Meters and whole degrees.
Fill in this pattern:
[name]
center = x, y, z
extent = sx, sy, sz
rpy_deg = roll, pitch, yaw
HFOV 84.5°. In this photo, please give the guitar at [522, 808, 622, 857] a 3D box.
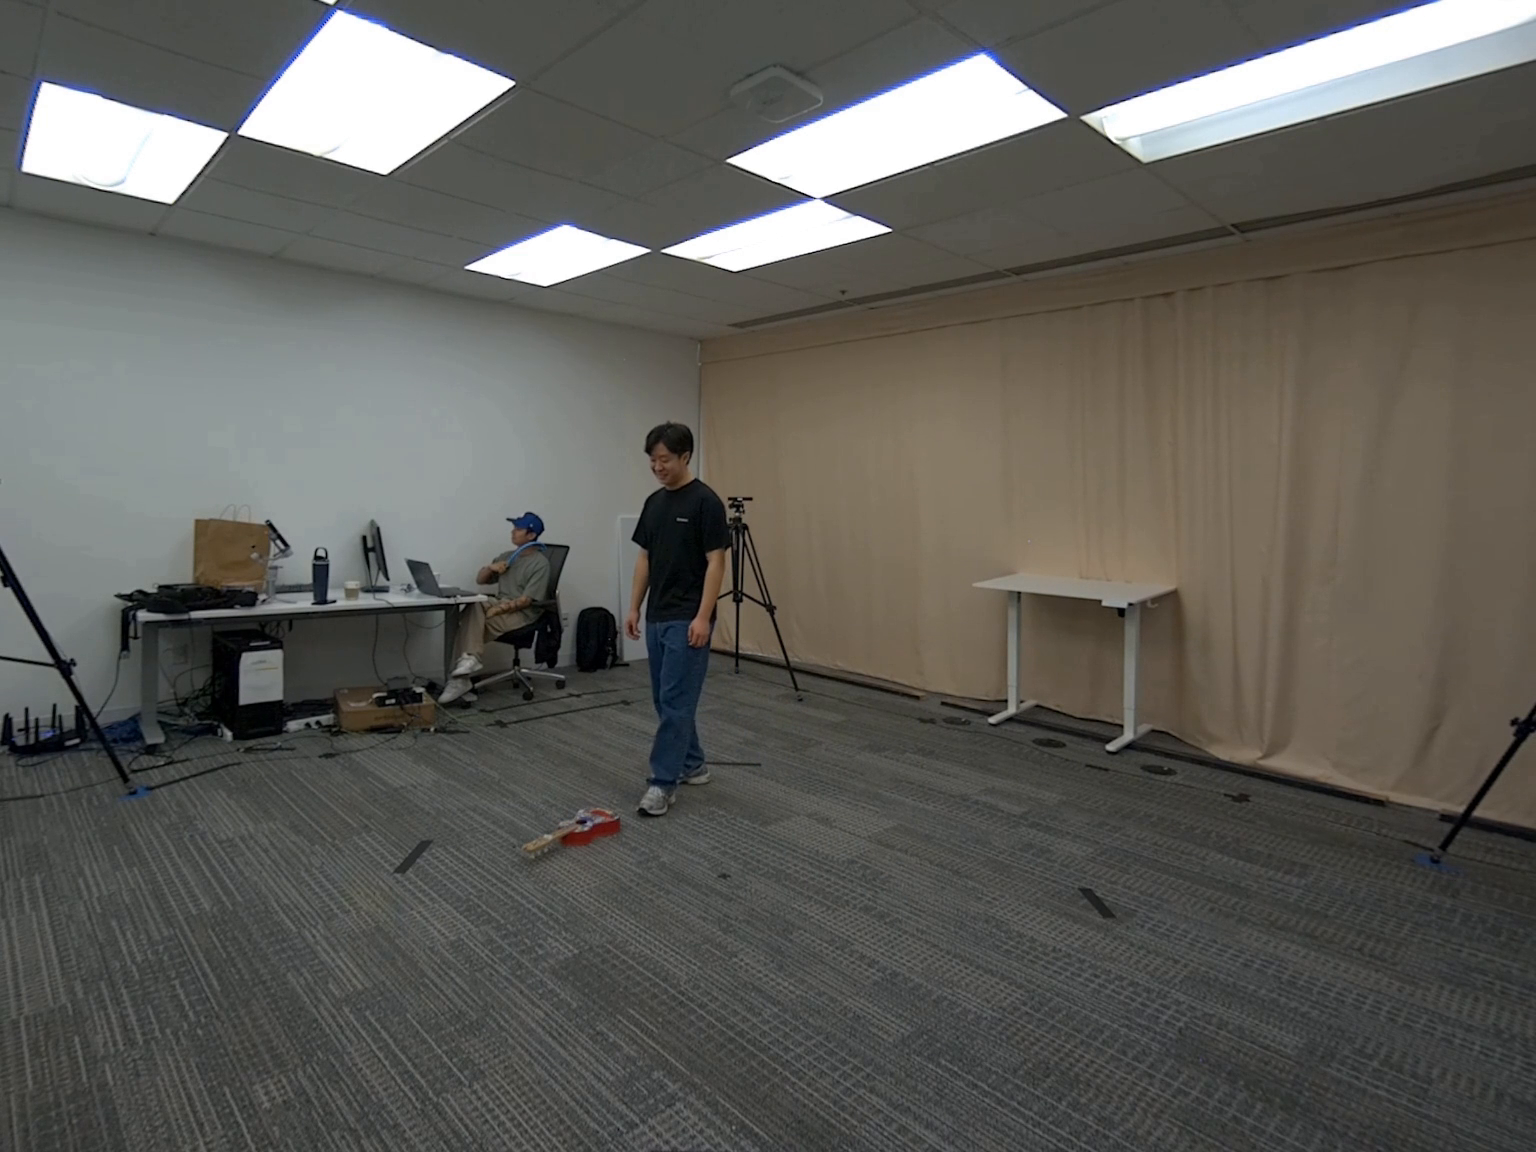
[guitar]
center = -0.827, 1.034, 3.386
extent = 0.198, 0.070, 0.487
rpy_deg = 5, 6, 37
